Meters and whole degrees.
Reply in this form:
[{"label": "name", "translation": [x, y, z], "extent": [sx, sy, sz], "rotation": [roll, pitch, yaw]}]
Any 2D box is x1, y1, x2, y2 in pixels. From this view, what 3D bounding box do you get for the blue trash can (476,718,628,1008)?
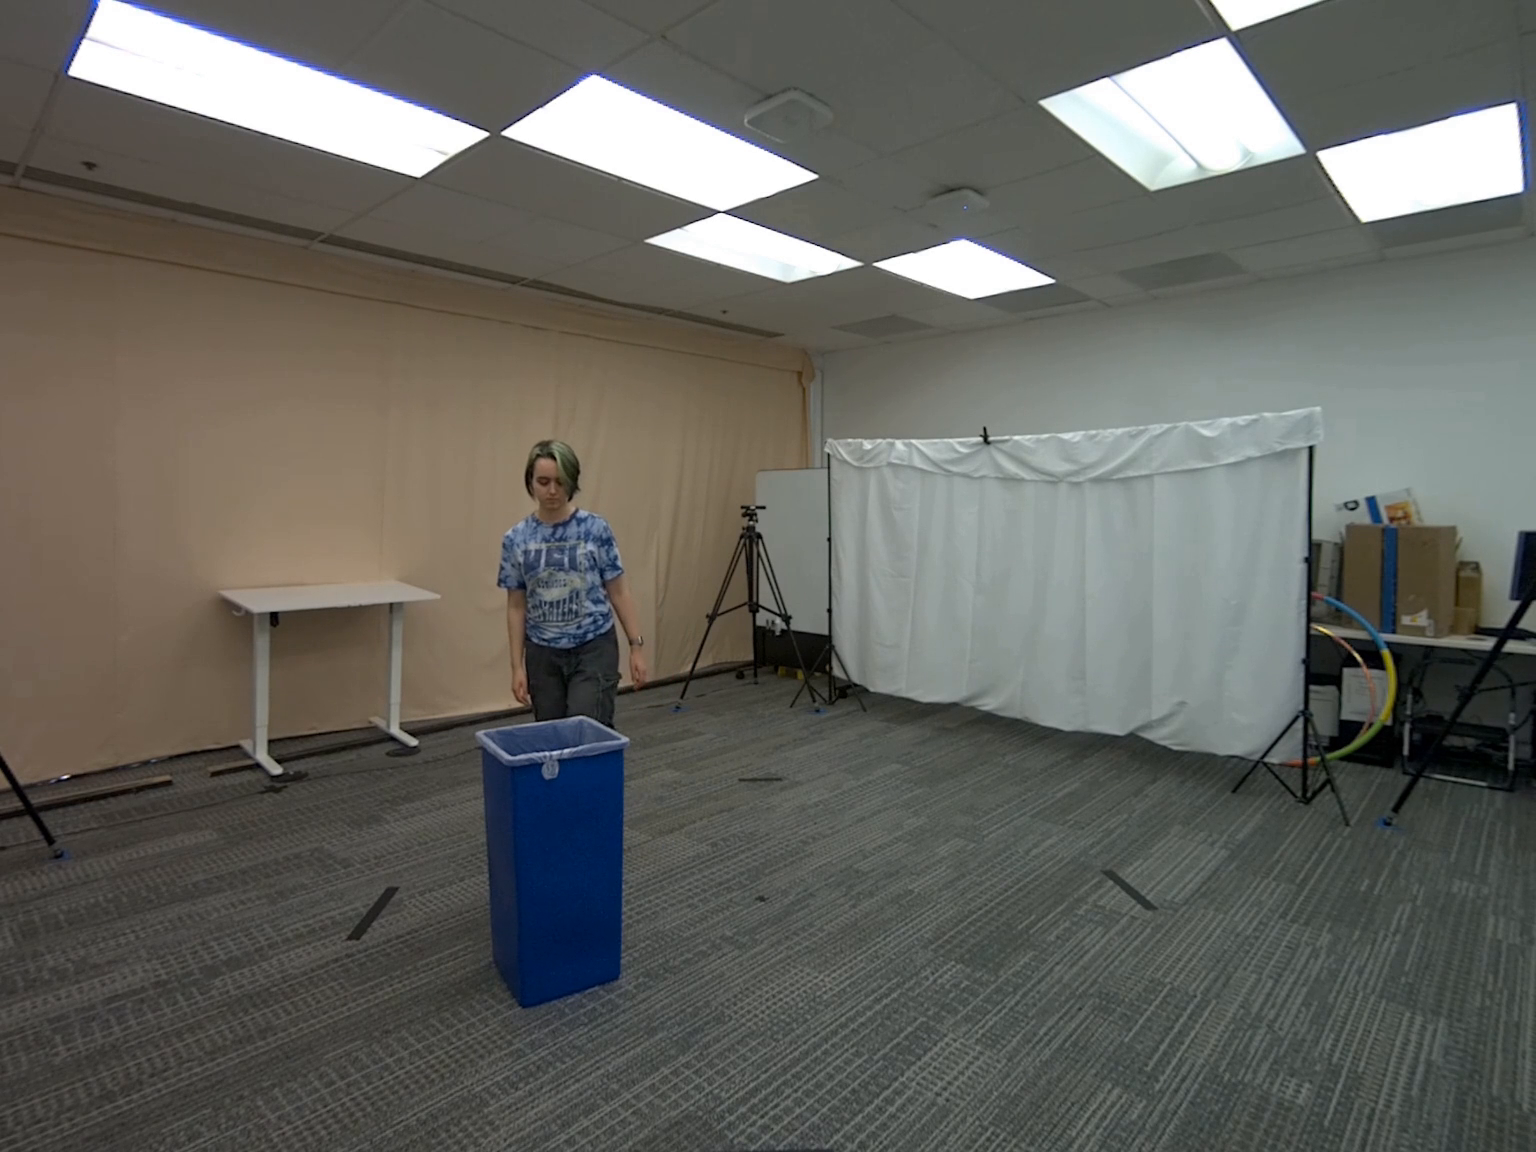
[{"label": "blue trash can", "translation": [-0.649, 0.831, 2.522], "extent": [0.367, 0.712, 0.385], "rotation": [-2, 3, -33]}]
